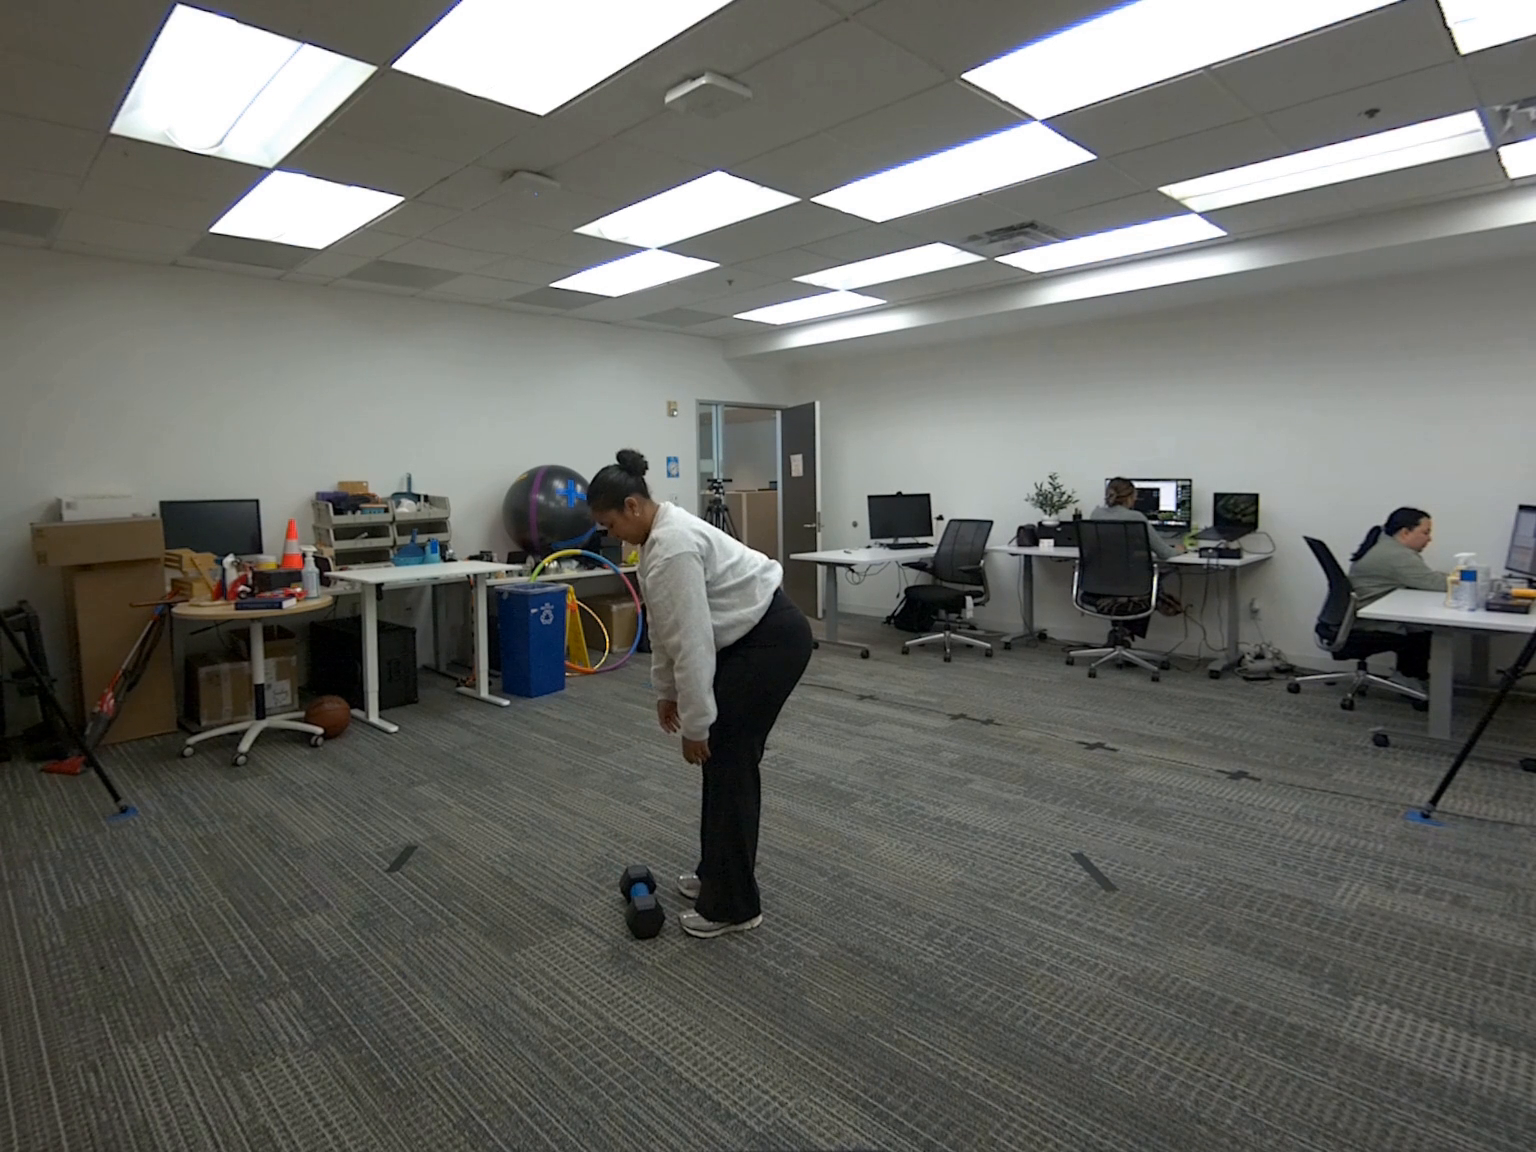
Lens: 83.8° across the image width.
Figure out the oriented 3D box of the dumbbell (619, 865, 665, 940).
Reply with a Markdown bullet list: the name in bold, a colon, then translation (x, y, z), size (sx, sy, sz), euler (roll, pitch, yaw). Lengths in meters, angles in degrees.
- **dumbbell**: translation (-0.398, 1.040, 2.738), size (0.107, 0.123, 0.298), euler (28, -1, -15)
